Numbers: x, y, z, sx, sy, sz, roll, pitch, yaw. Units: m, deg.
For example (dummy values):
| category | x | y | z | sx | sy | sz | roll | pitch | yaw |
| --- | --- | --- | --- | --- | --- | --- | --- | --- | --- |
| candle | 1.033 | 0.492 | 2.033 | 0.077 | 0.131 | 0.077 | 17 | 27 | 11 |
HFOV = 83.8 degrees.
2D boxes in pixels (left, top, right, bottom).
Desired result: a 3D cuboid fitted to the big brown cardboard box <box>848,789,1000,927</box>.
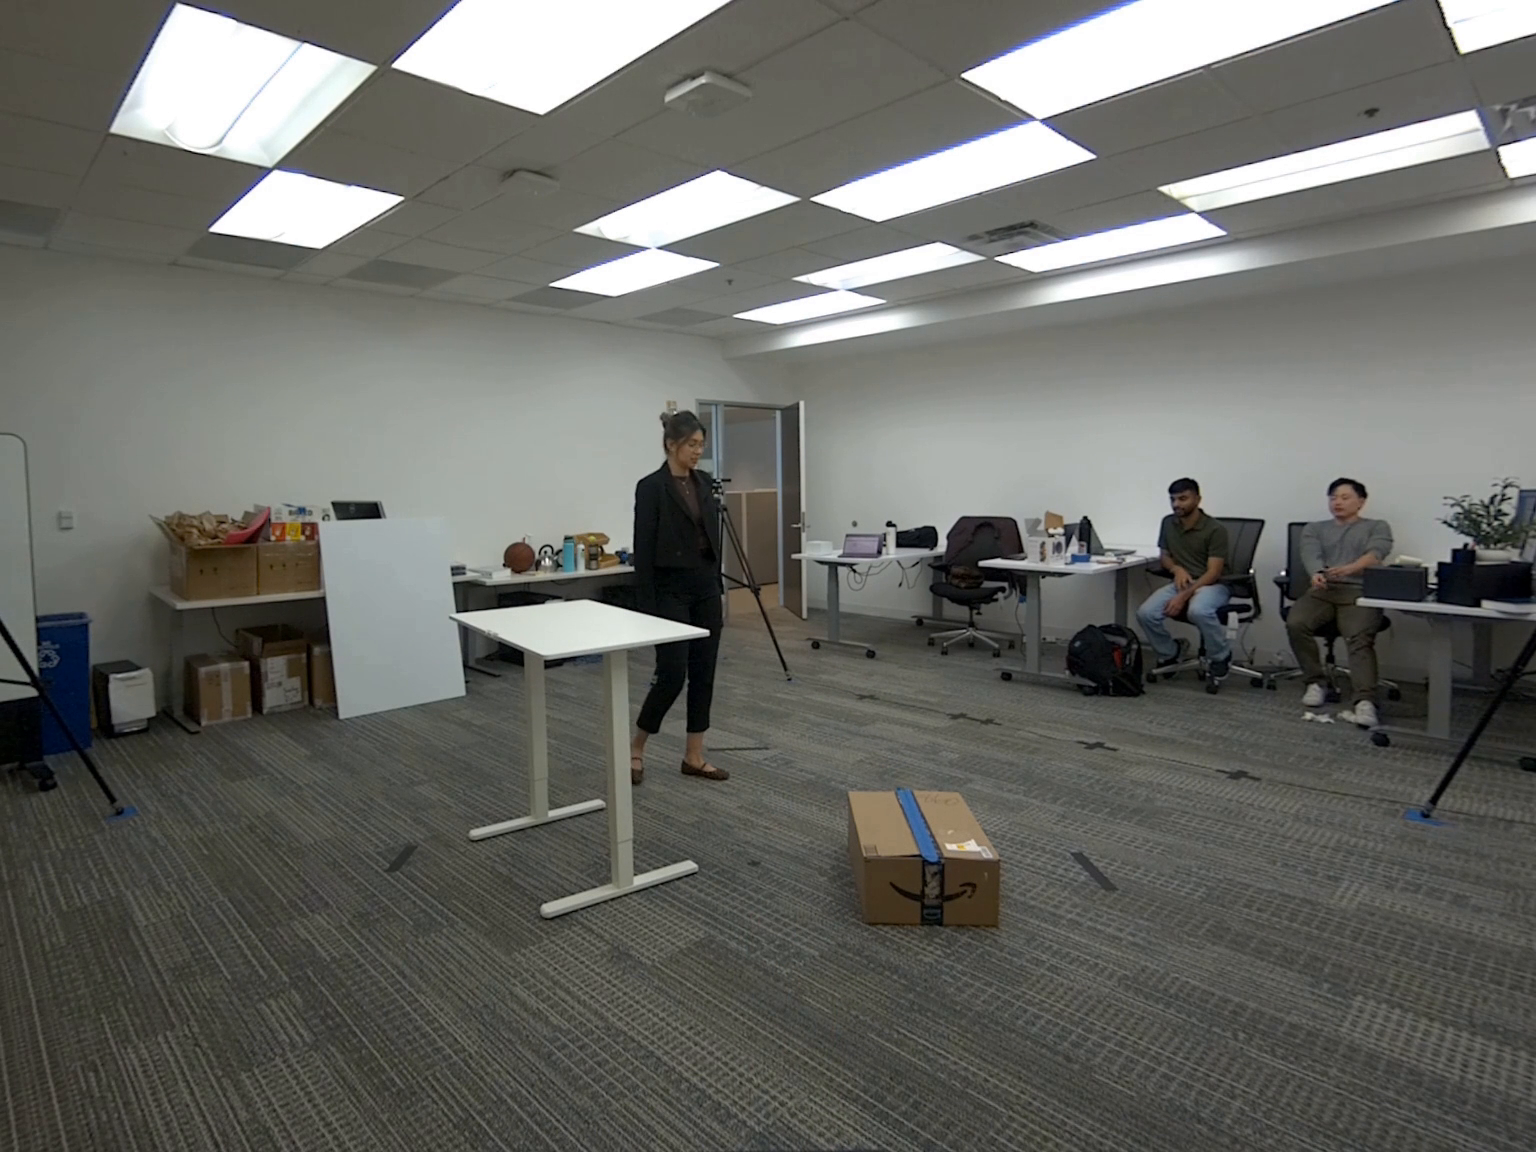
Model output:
| category | x | y | z | sx | sy | sz | roll | pitch | yaw |
| --- | --- | --- | --- | --- | --- | --- | --- | --- | --- |
| big brown cardboard box | 0.510 | 0.943 | 2.922 | 0.418 | 0.232 | 0.590 | -1 | 5 | 0 |
